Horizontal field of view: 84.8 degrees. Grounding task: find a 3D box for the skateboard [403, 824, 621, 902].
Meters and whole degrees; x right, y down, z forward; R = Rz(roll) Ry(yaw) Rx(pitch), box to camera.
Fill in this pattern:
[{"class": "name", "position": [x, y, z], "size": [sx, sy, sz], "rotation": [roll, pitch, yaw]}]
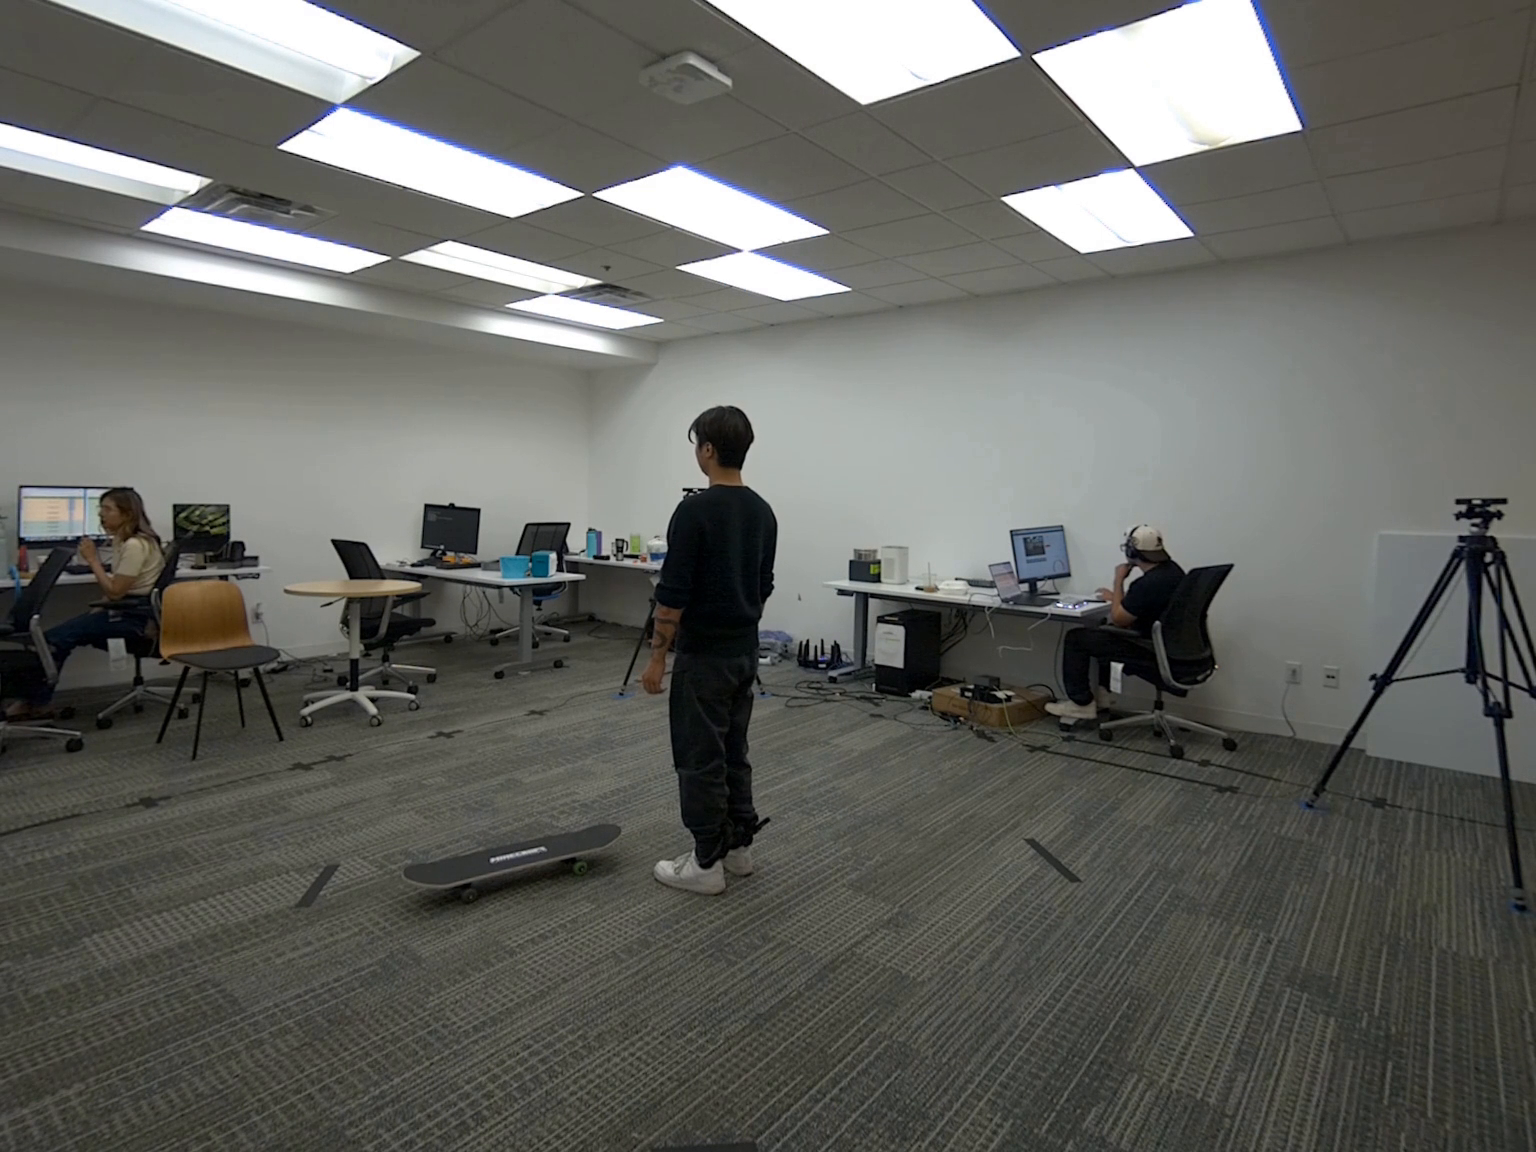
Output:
[{"class": "skateboard", "position": [-0.890, 1.016, 3.008], "size": [0.764, 0.110, 0.200], "rotation": [-3, 6, -33]}]
